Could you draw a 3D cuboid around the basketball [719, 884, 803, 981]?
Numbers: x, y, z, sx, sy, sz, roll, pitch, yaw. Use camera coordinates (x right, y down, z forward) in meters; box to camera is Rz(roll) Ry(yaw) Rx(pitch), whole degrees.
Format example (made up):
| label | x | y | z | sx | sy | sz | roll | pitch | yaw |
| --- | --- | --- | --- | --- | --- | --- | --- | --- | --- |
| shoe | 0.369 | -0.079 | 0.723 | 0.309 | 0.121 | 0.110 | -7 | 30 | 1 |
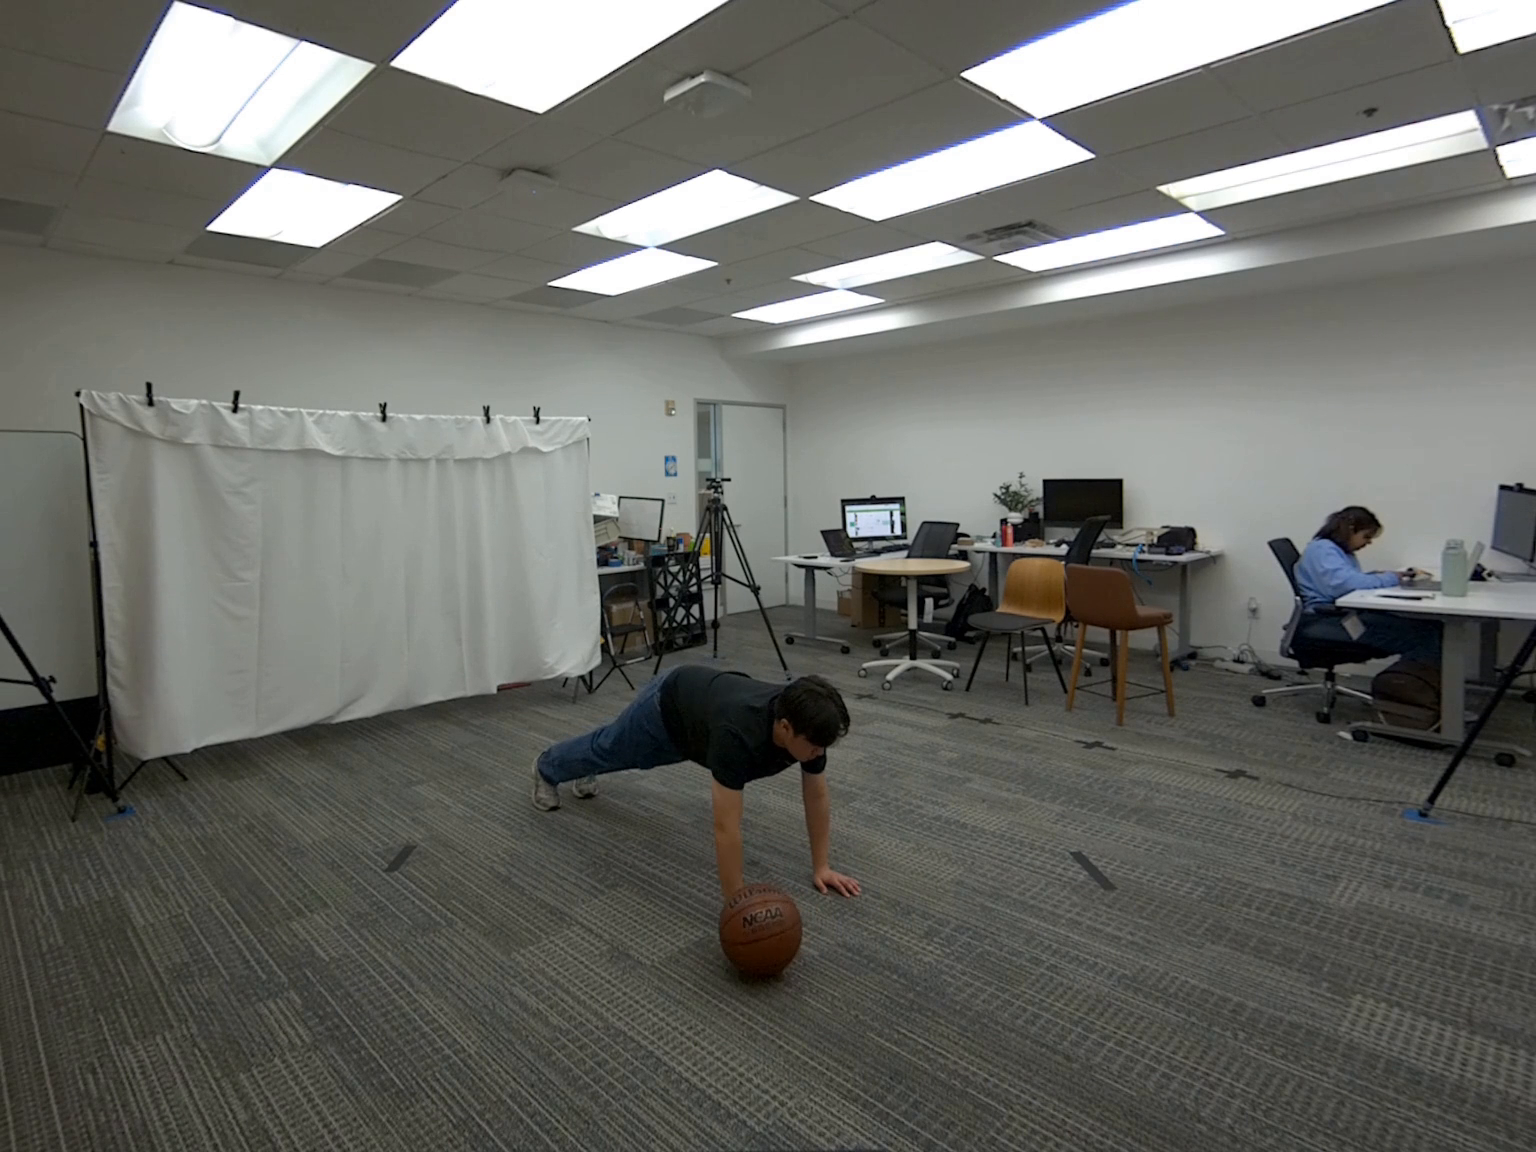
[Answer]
| label | x | y | z | sx | sy | sz | roll | pitch | yaw |
| --- | --- | --- | --- | --- | --- | --- | --- | --- | --- |
| basketball | -0.021 | 1.004 | 2.427 | 0.236 | 0.235 | 0.237 | -1 | 5 | -2 |
